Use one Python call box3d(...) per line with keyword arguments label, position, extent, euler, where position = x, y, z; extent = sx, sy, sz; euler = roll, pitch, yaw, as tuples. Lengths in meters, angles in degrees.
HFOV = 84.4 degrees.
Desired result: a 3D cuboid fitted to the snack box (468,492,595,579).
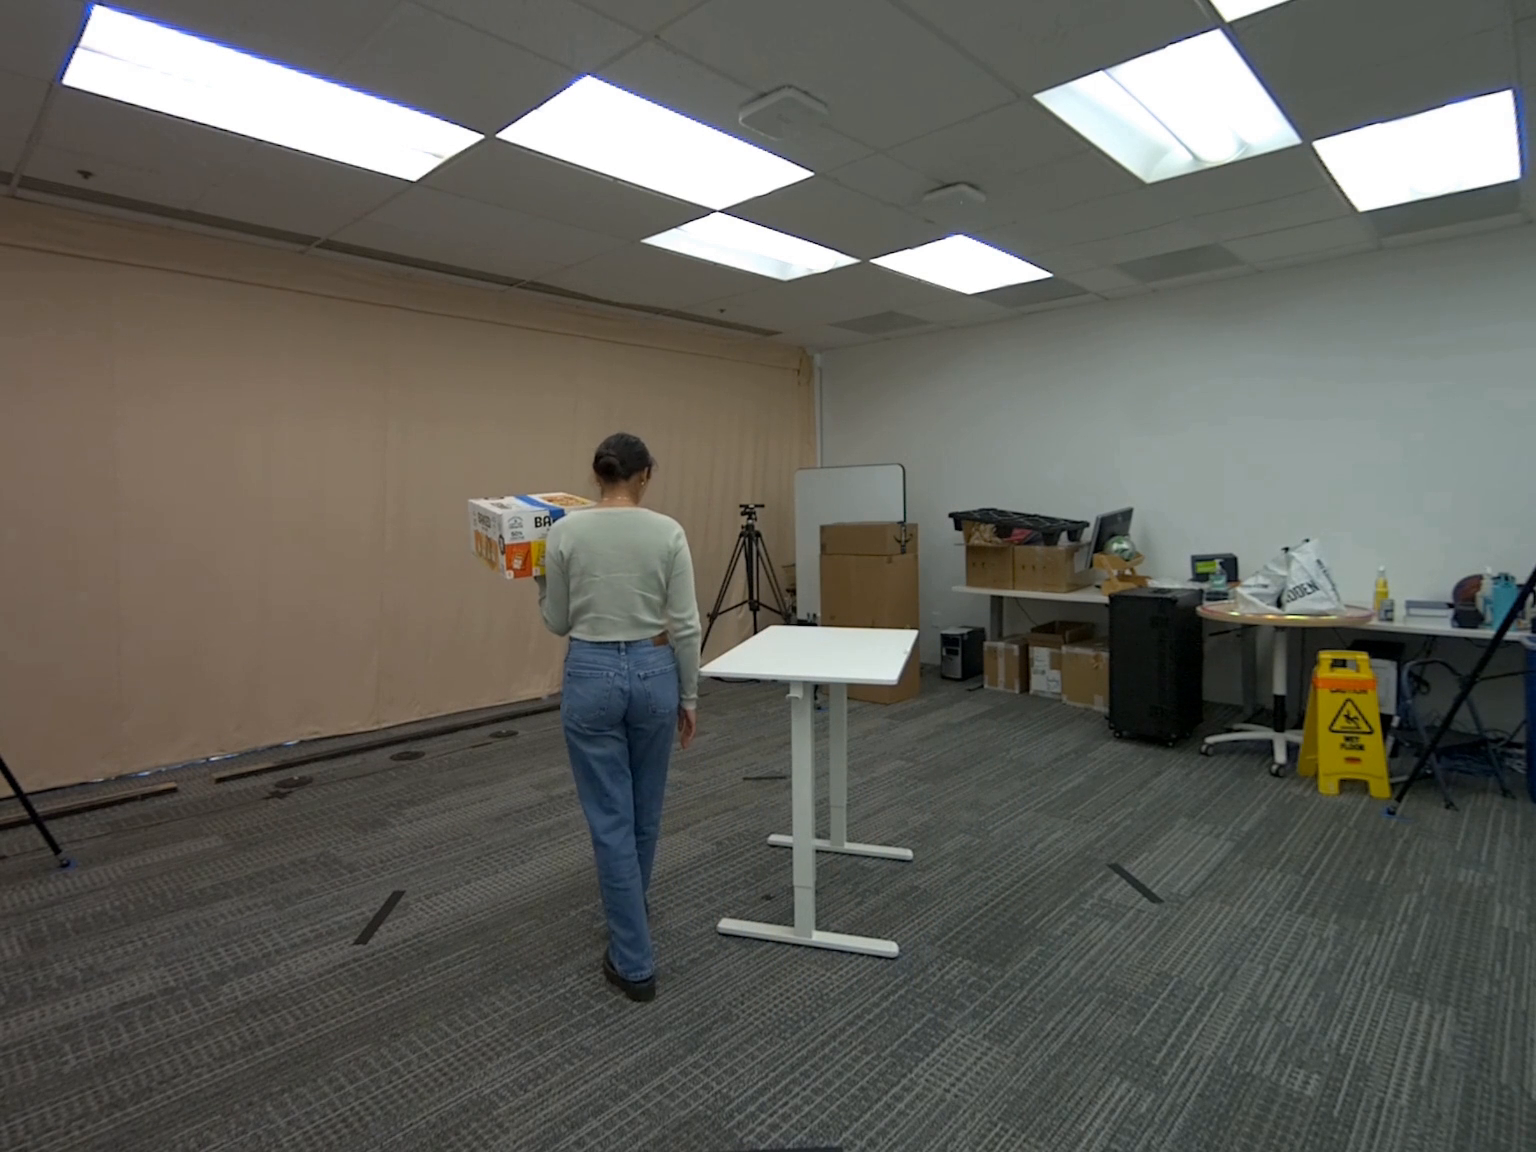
box3d(label="snack box", position=(-0.766, -0.146, 2.776), extent=(0.331, 0.204, 0.419), euler=(-7, 14, -31))
